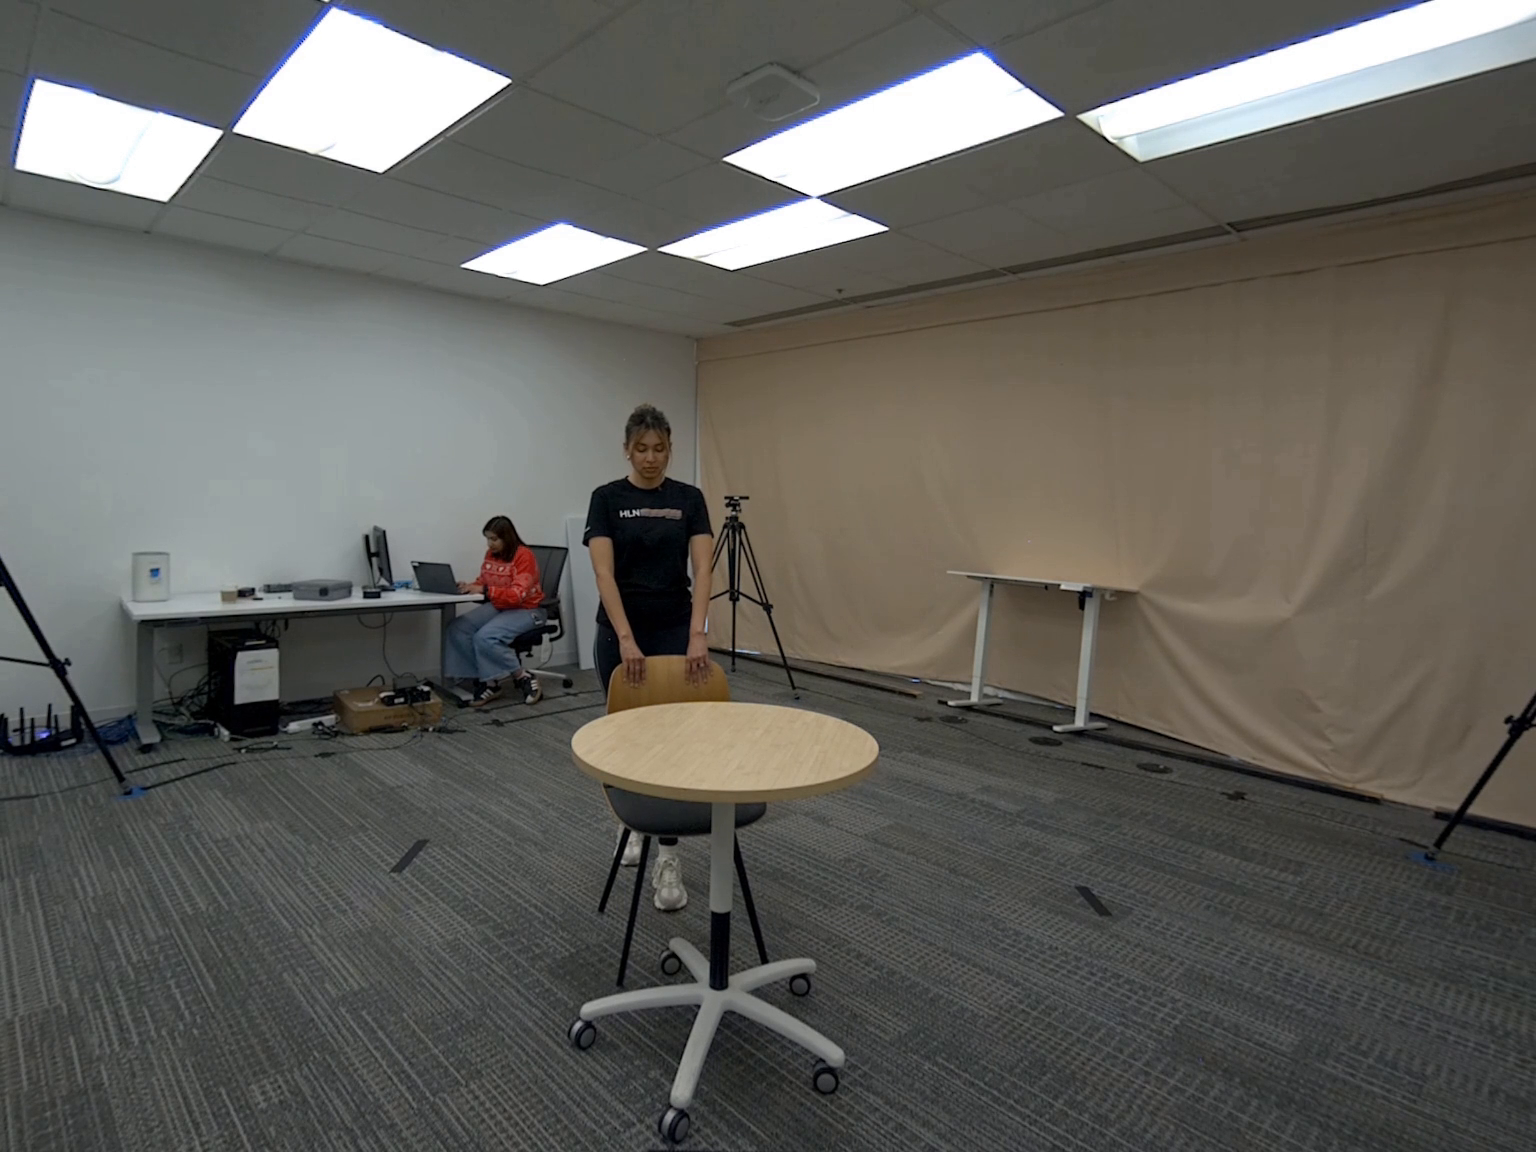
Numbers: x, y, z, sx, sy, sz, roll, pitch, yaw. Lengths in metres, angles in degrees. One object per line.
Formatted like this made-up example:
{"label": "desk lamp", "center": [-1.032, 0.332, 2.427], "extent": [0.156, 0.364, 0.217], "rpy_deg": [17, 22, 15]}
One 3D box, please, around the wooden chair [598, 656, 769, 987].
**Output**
{"label": "wooden chair", "center": [-0.275, 0.720, 2.617], "extent": [0.472, 0.878, 0.529], "rpy_deg": [1, -1, -17]}
